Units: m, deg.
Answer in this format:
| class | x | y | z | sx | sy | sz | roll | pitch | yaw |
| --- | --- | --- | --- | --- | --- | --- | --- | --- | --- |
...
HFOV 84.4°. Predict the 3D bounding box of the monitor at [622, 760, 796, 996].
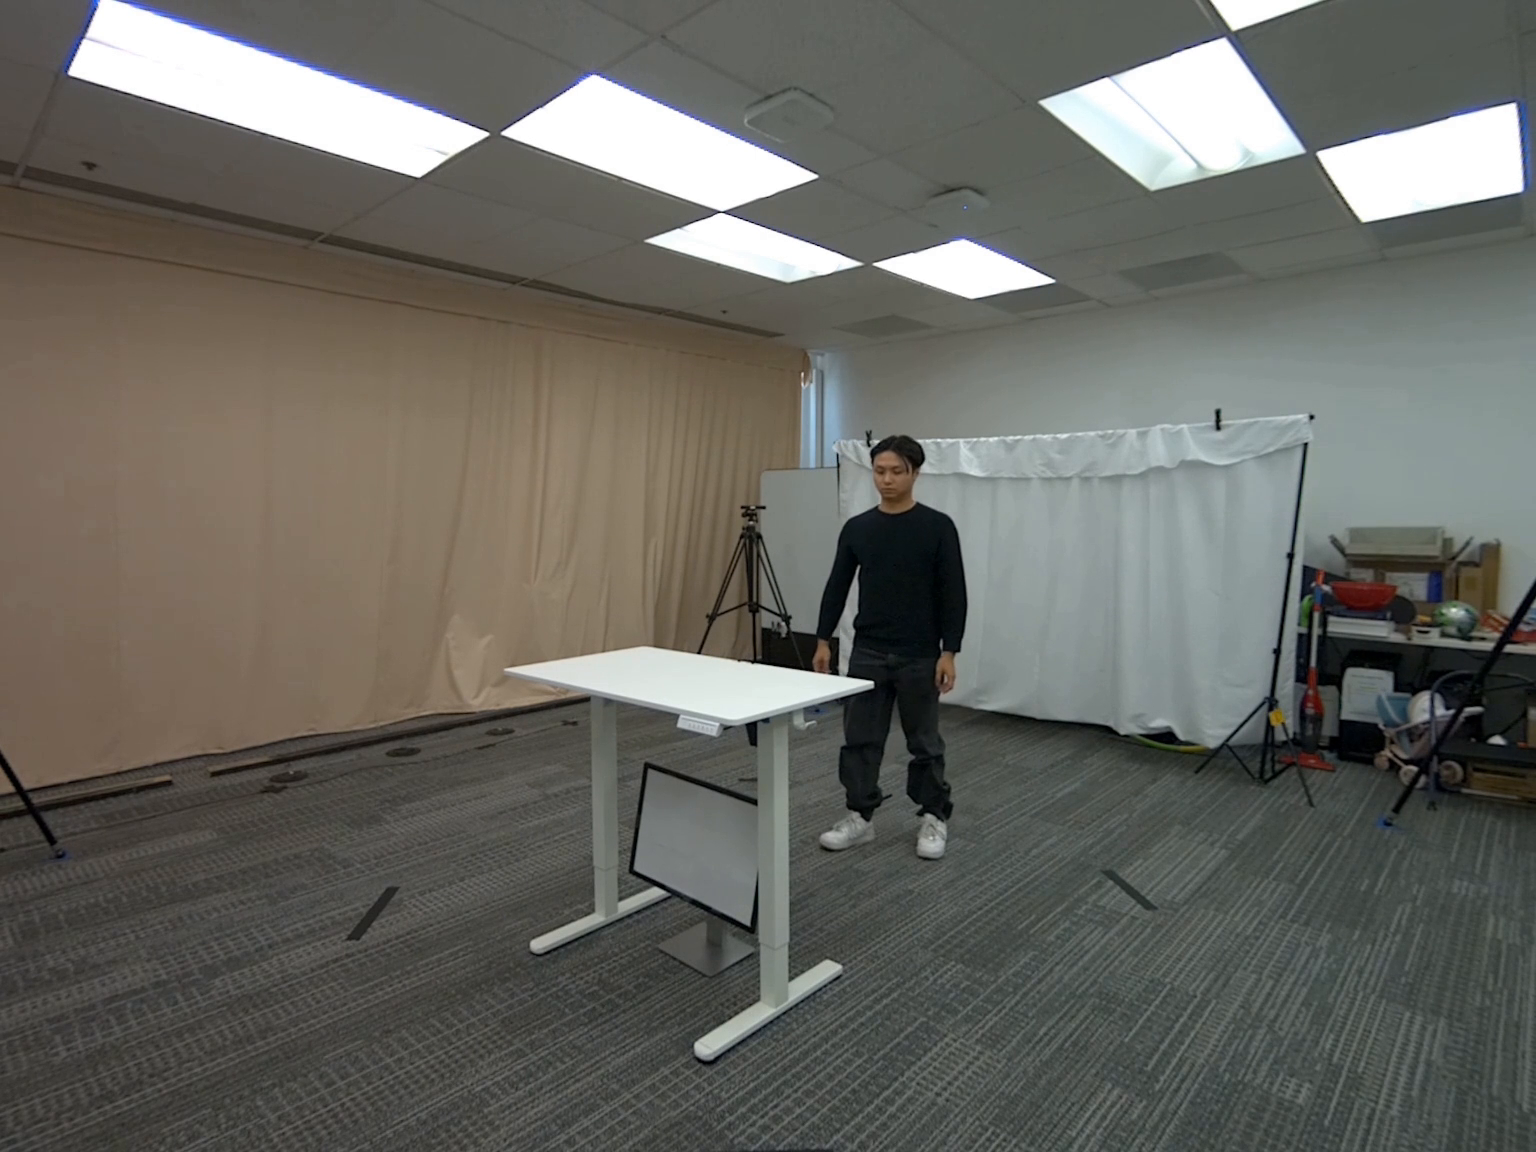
| class | x | y | z | sx | sy | sz | roll | pitch | yaw |
| --- | --- | --- | --- | --- | --- | --- | --- | --- | --- |
| monitor | -0.192 | 0.901 | 2.615 | 0.548 | 0.513 | 0.170 | 5 | 11 | 42 |
